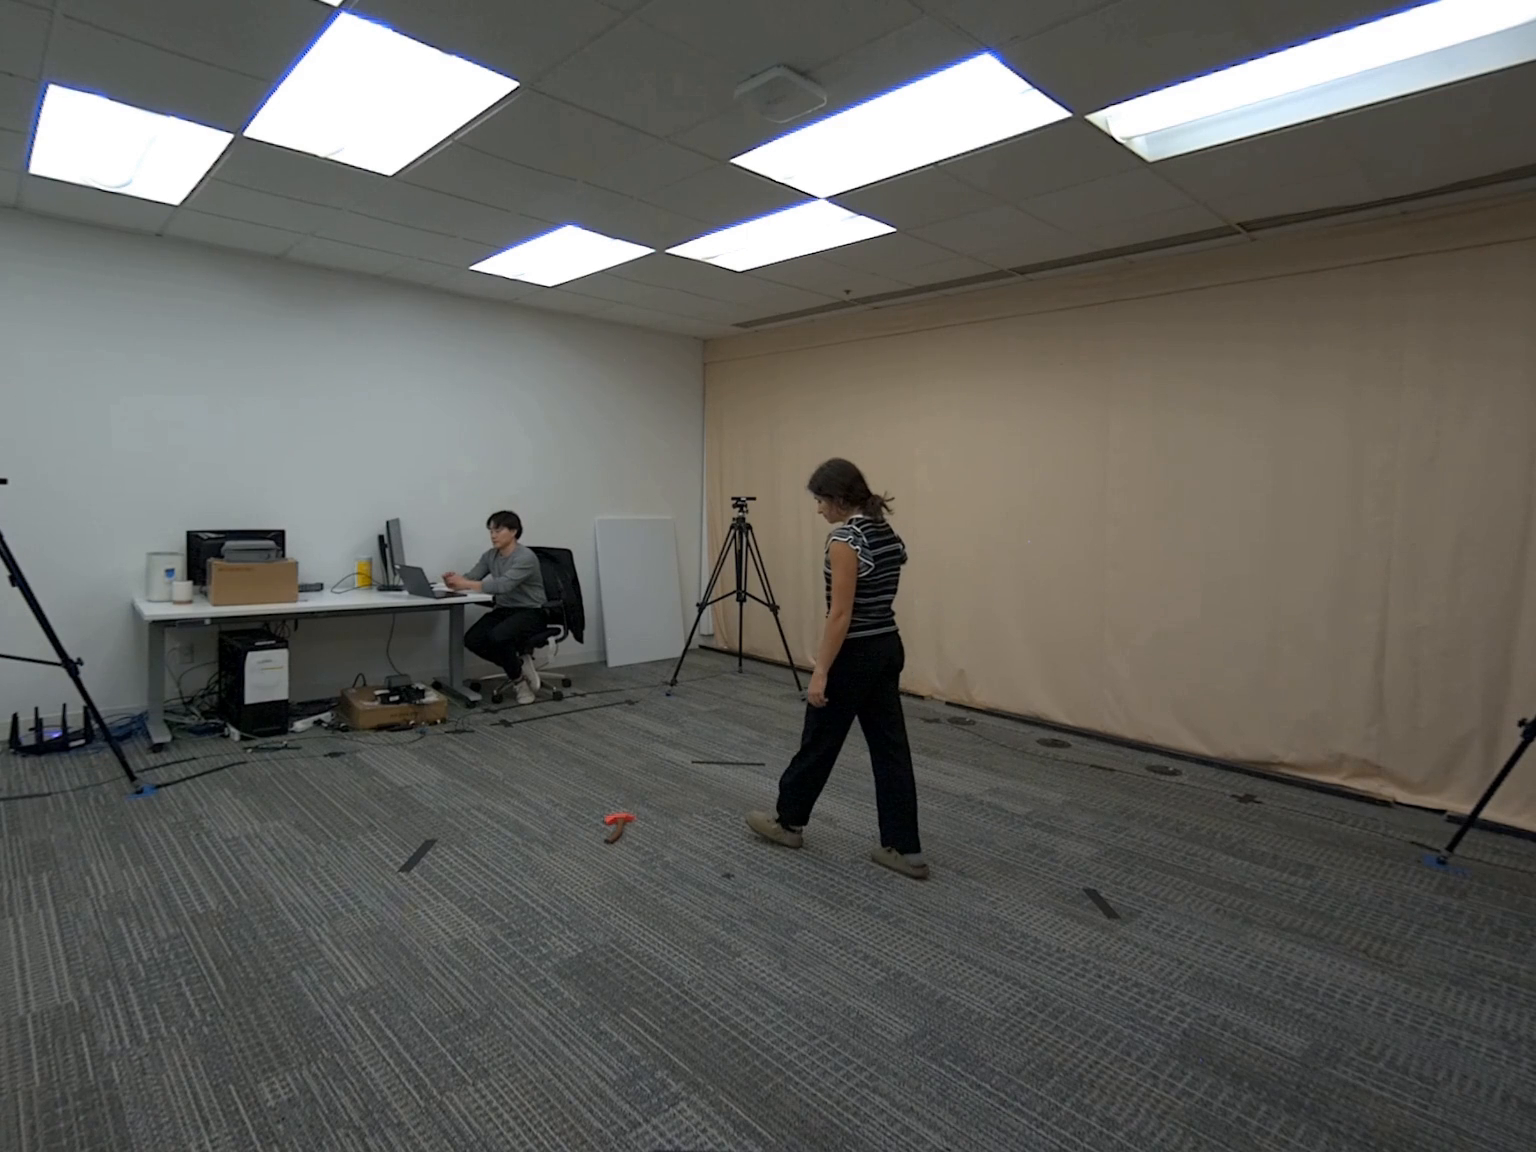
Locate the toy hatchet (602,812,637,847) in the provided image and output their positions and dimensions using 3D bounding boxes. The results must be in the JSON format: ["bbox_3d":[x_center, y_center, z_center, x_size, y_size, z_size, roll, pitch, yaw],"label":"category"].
[{"bbox_3d":[-0.656,1.040,3.499,0.132,0.029,0.268,4,6,12],"label":"toy hatchet"}]
